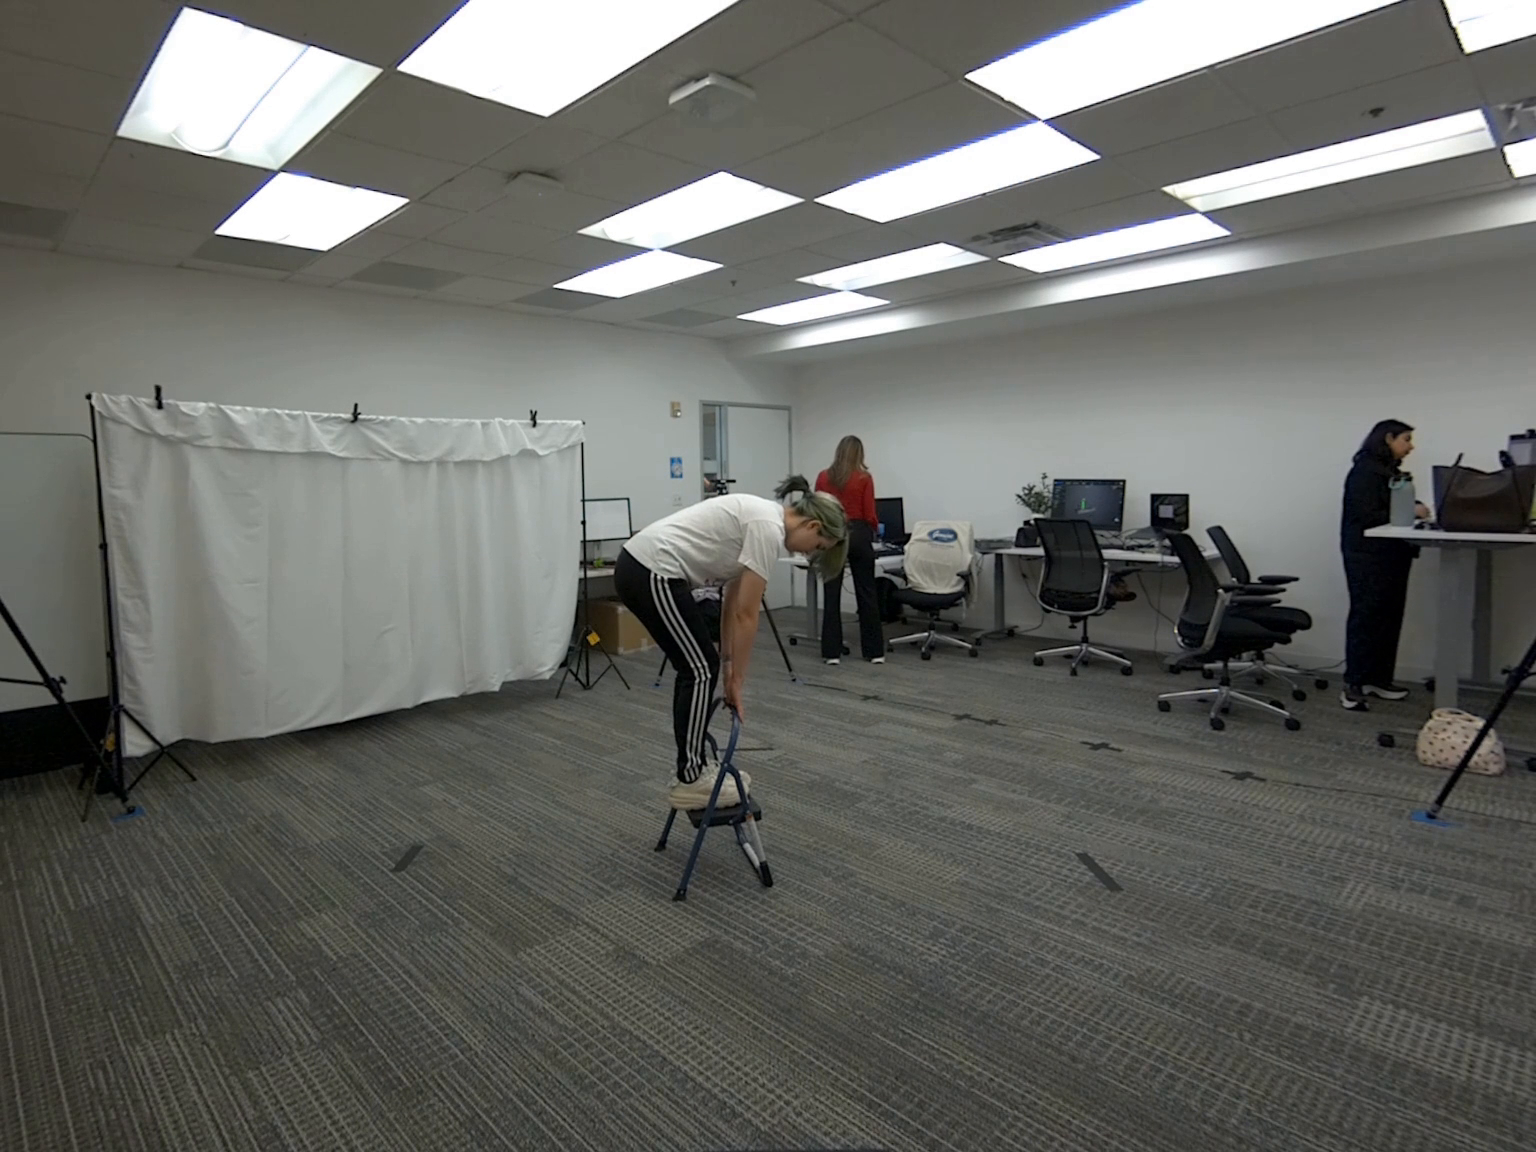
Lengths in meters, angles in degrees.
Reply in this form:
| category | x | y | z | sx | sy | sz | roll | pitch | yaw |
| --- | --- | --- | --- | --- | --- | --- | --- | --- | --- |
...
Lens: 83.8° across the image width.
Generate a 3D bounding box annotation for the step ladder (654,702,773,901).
| category | x | y | z | sx | sy | sz | roll | pitch | yaw |
| --- | --- | --- | --- | --- | --- | --- | --- | --- | --- |
| step ladder | -0.204 | 0.757 | 3.070 | 0.344 | 0.604 | 0.438 | -2 | 5 | -16 |
